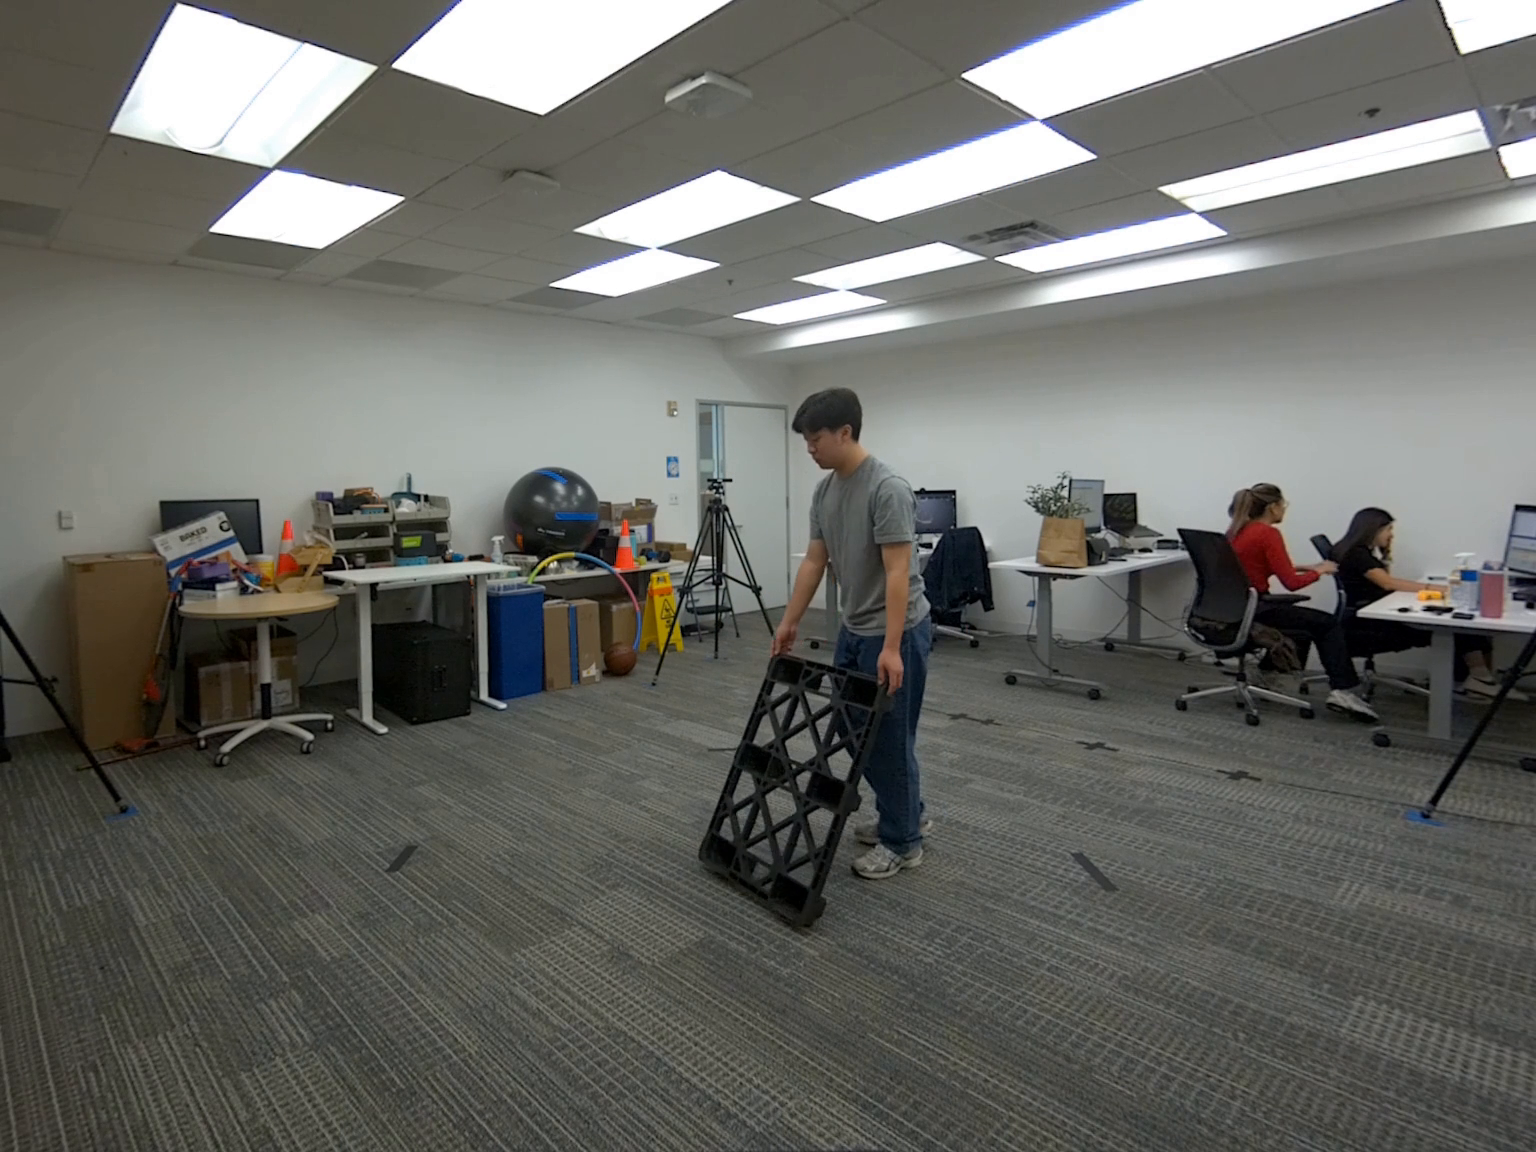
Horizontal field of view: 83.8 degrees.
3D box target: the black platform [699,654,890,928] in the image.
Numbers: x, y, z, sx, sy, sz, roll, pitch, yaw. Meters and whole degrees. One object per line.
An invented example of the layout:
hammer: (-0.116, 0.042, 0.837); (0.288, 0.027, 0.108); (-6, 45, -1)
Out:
black platform: (0.111, 0.701, 2.960); (0.138, 0.810, 0.623); (29, -13, -34)
